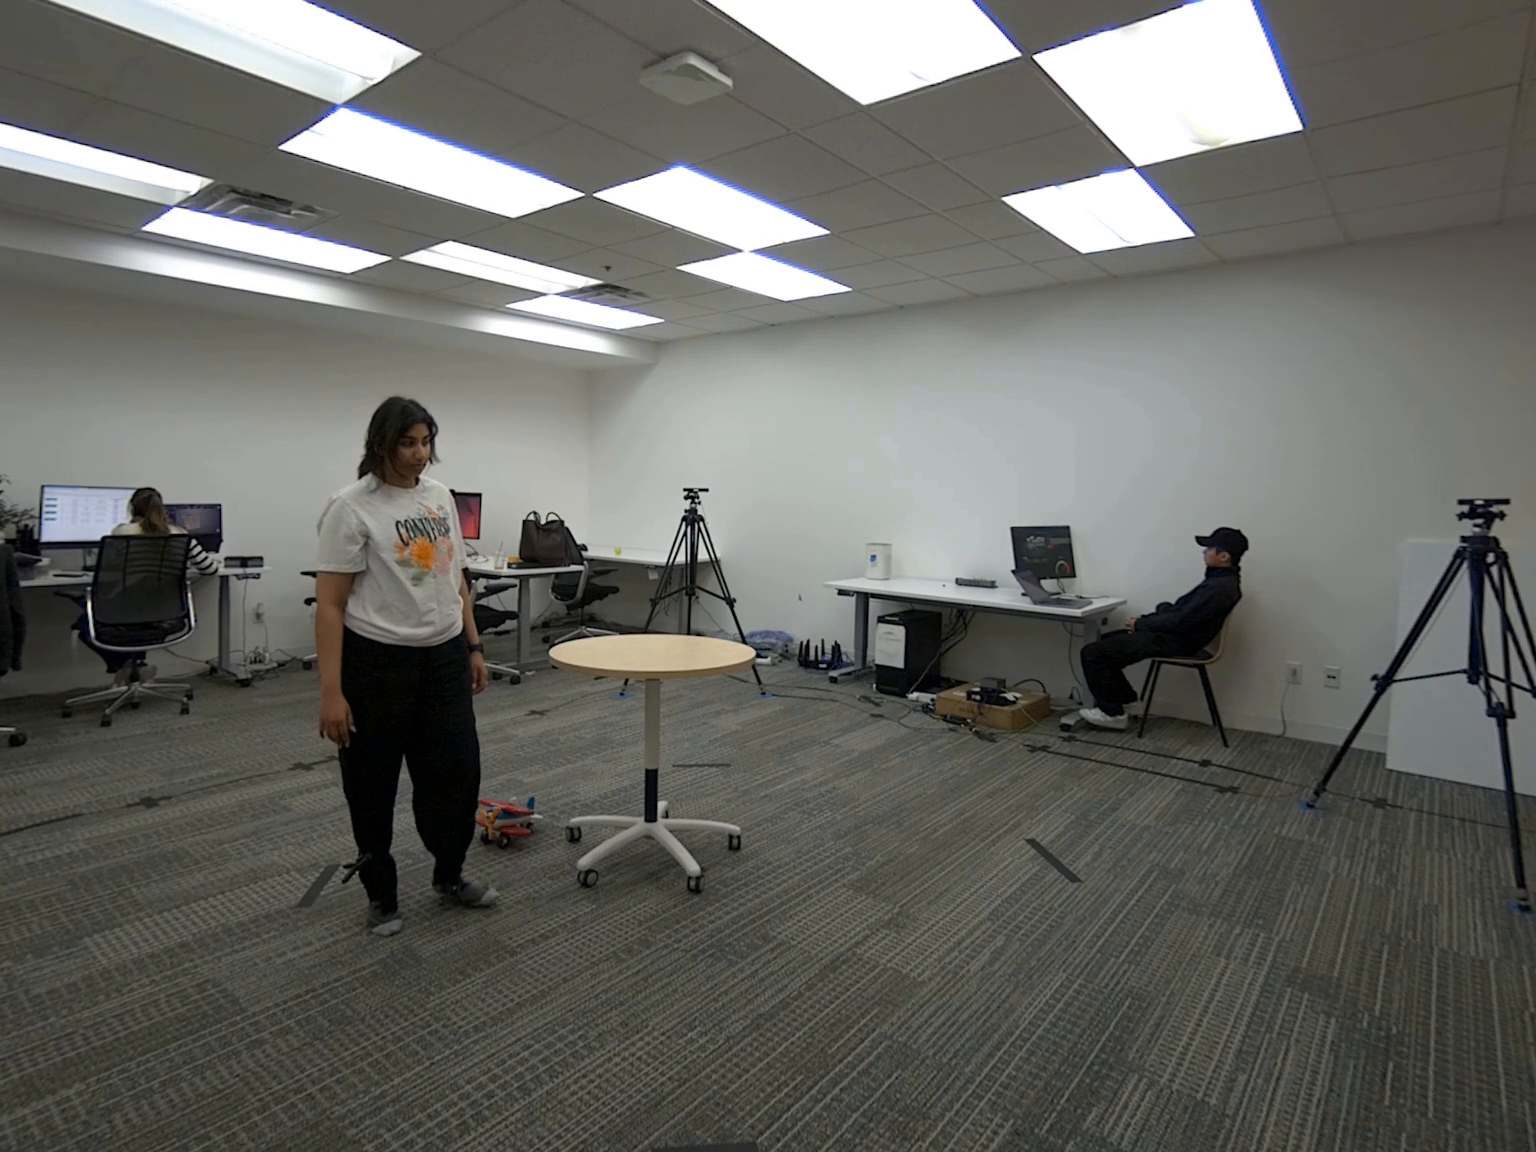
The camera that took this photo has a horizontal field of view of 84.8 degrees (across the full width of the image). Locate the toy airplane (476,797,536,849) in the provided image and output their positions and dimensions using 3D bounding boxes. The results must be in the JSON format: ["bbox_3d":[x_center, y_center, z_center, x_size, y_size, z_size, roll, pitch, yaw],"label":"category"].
[{"bbox_3d":[-1.046,0.954,3.361,0.252,0.156,0.260,1,5,1],"label":"toy airplane"}]
